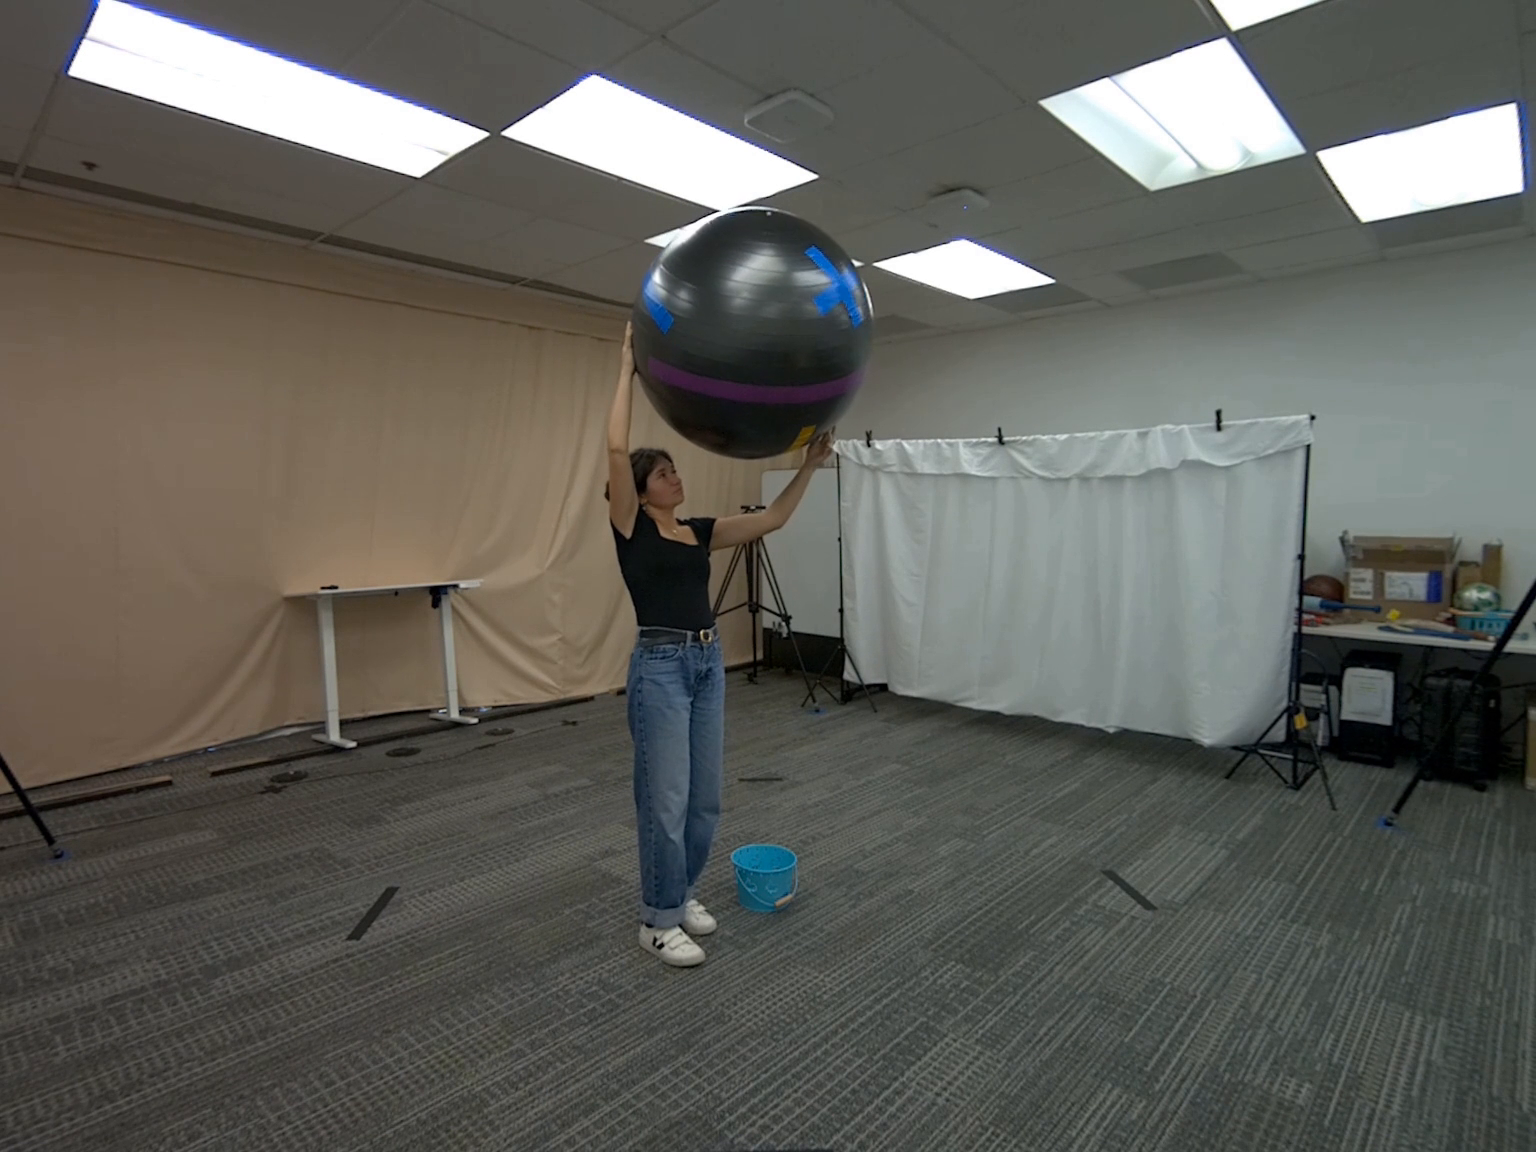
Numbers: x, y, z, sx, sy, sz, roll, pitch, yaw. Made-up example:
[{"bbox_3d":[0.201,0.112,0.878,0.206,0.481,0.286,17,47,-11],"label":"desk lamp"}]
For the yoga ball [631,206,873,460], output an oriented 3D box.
[{"bbox_3d":[-0.055,-0.745,2.646,0.757,0.756,0.760,0,4,-2],"label":"yoga ball"}]
